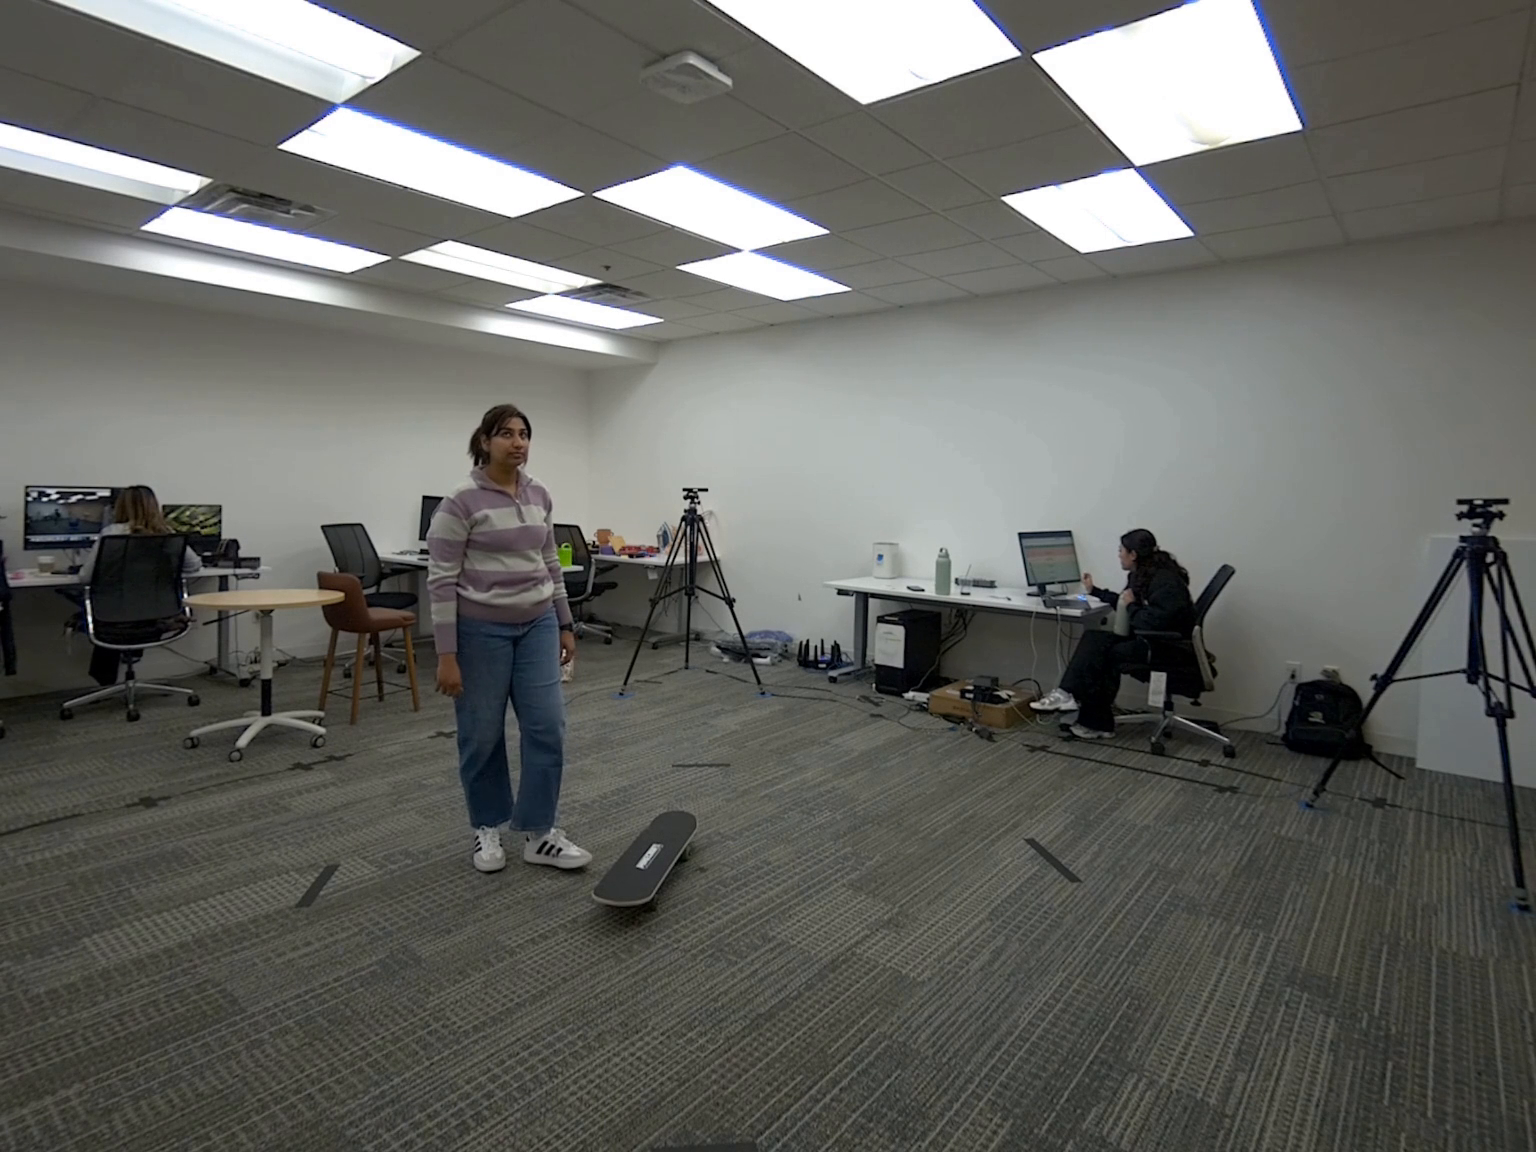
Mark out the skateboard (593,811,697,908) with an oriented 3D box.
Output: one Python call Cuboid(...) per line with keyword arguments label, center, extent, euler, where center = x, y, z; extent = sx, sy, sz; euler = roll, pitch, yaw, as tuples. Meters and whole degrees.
Cuboid(label="skateboard", center=(-0.428, 1.019, 3.009), extent=(0.196, 0.110, 0.777), euler=(2, 5, 10))
